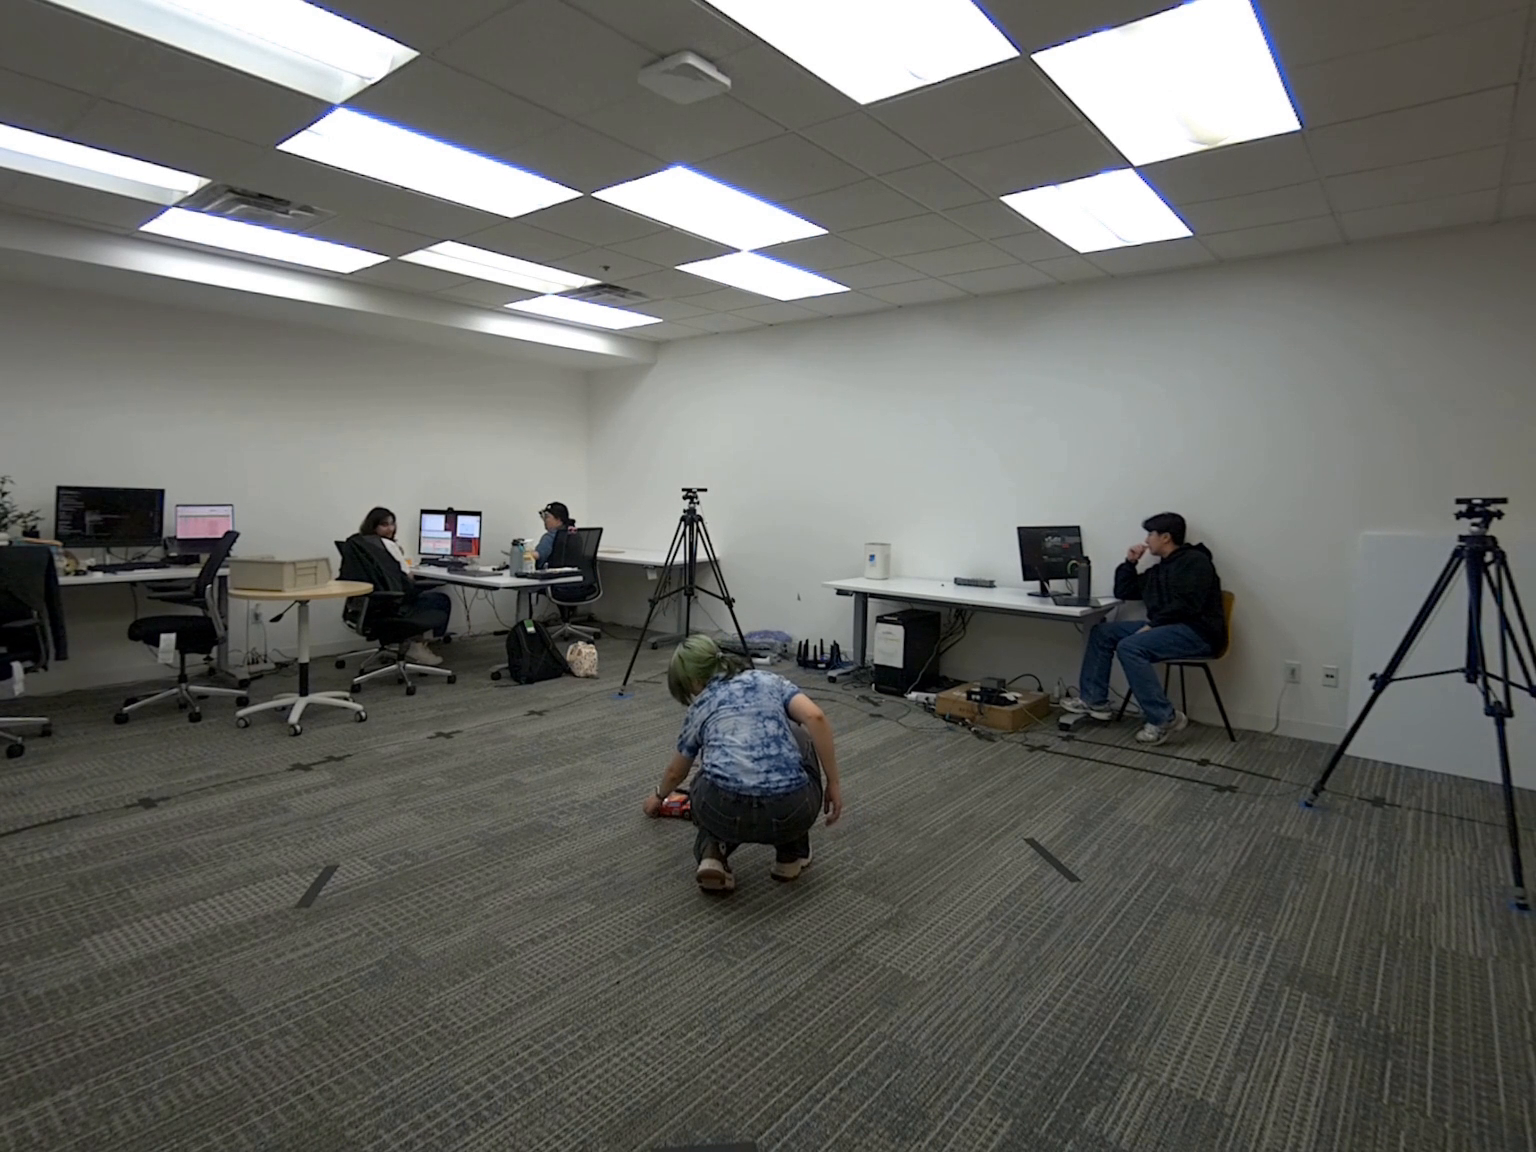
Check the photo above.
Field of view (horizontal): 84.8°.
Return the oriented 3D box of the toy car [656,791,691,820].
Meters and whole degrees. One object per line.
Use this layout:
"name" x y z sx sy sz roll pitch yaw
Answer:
"toy car" -0.391 0.983 3.633 0.257 0.083 0.129 -10 1 12
